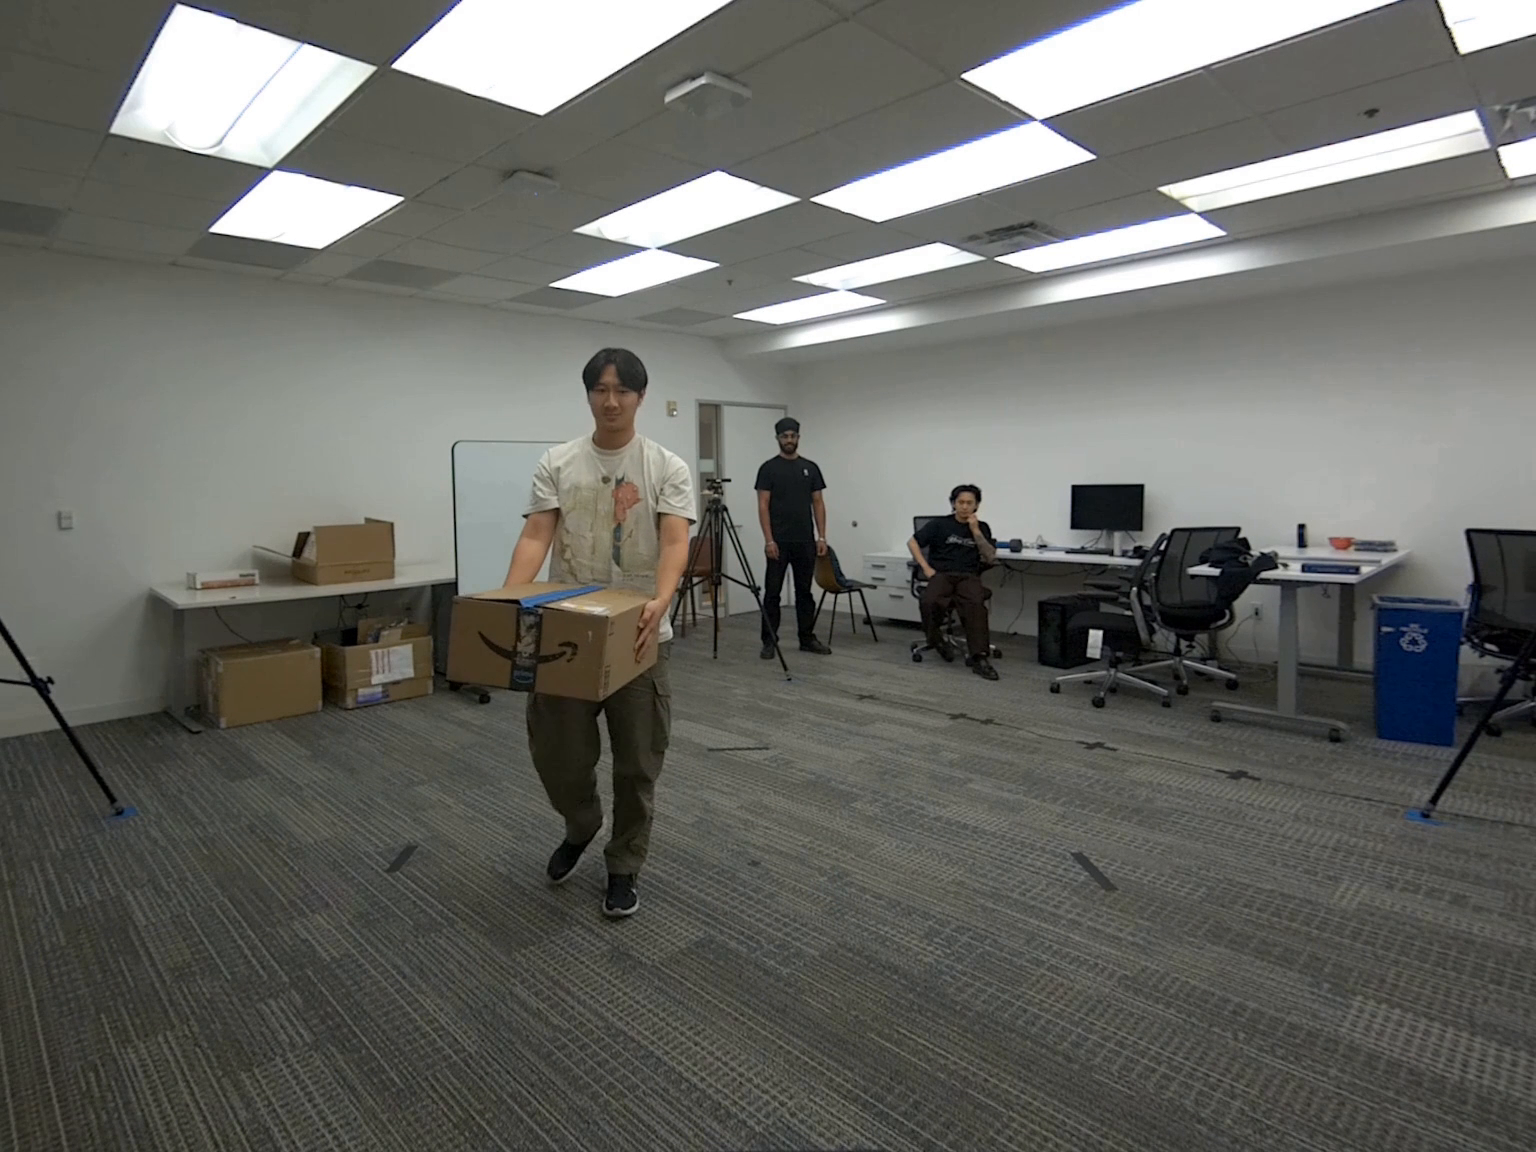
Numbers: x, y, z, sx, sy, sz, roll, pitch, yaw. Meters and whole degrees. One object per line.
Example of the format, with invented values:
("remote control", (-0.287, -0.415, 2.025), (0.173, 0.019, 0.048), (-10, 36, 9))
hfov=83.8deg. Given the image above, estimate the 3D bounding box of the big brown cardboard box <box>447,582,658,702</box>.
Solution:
("big brown cardboard box", (-0.574, 0.164, 2.403), (0.421, 0.233, 0.585), (5, 4, 7))
